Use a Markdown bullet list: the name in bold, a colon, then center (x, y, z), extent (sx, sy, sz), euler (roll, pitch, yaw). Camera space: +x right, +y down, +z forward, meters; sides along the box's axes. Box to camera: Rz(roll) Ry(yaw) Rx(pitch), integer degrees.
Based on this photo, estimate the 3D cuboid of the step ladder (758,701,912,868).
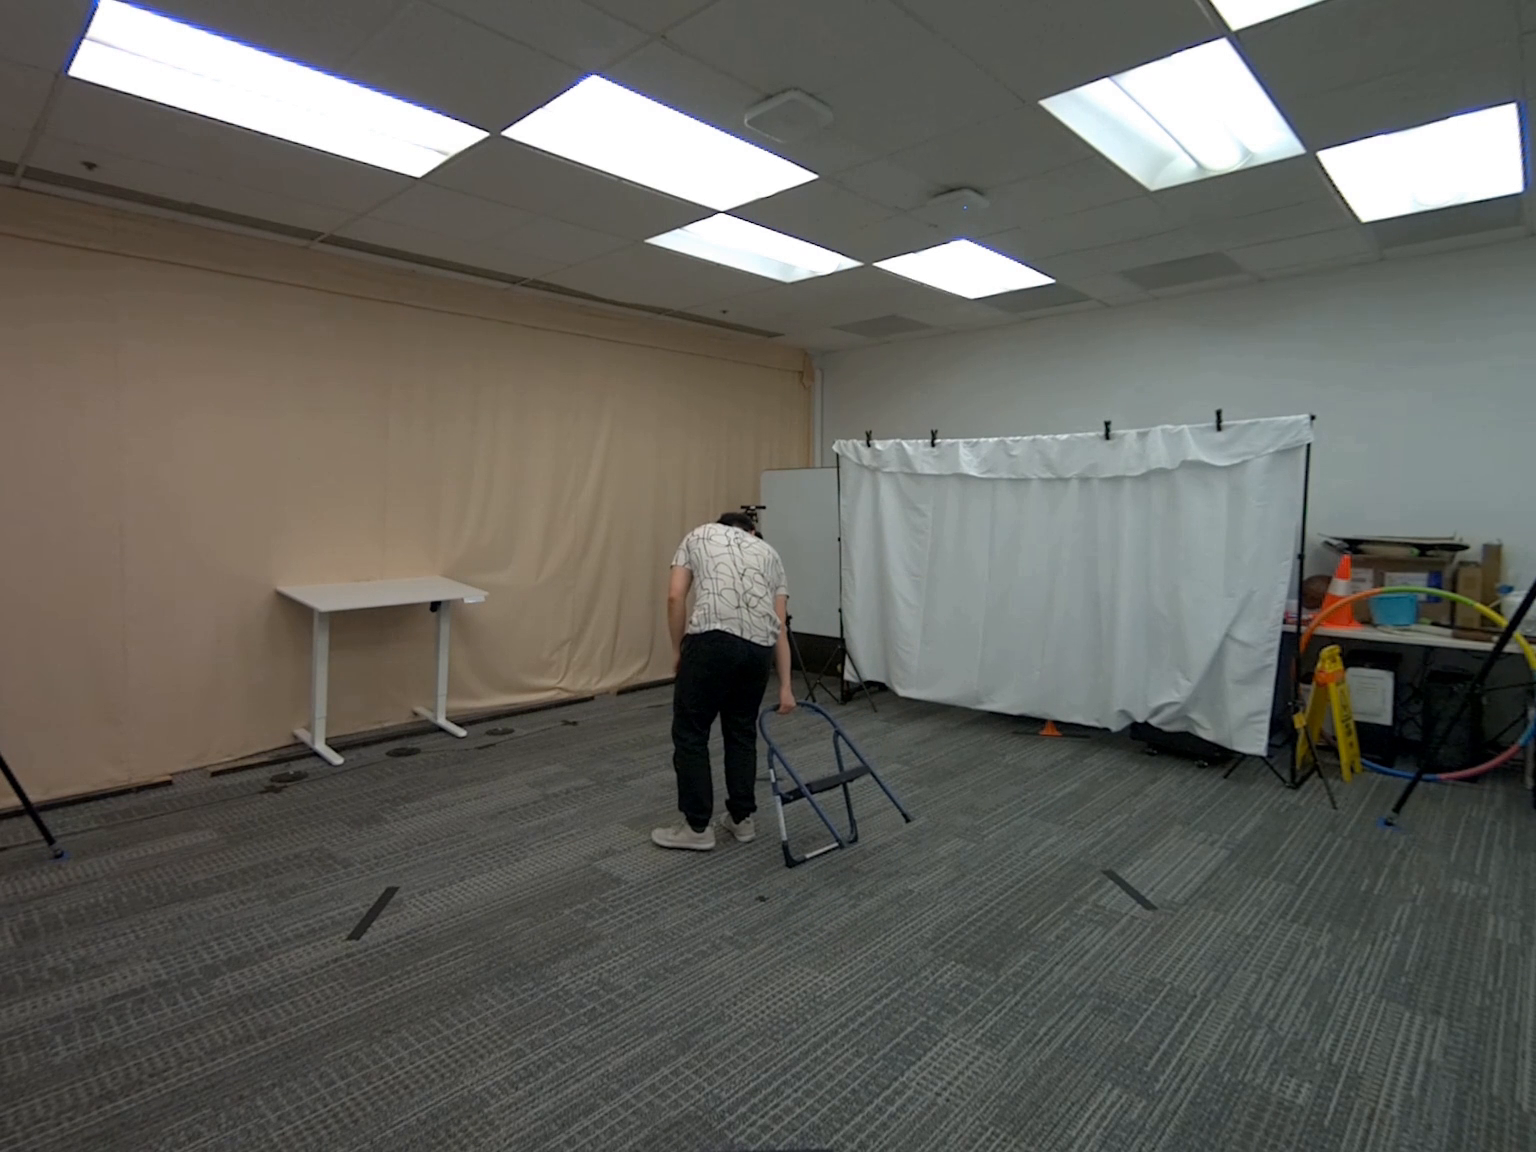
- **step ladder**: center (0.222, 0.772, 3.355), extent (0.417, 0.617, 0.354), euler (-2, -27, -43)
